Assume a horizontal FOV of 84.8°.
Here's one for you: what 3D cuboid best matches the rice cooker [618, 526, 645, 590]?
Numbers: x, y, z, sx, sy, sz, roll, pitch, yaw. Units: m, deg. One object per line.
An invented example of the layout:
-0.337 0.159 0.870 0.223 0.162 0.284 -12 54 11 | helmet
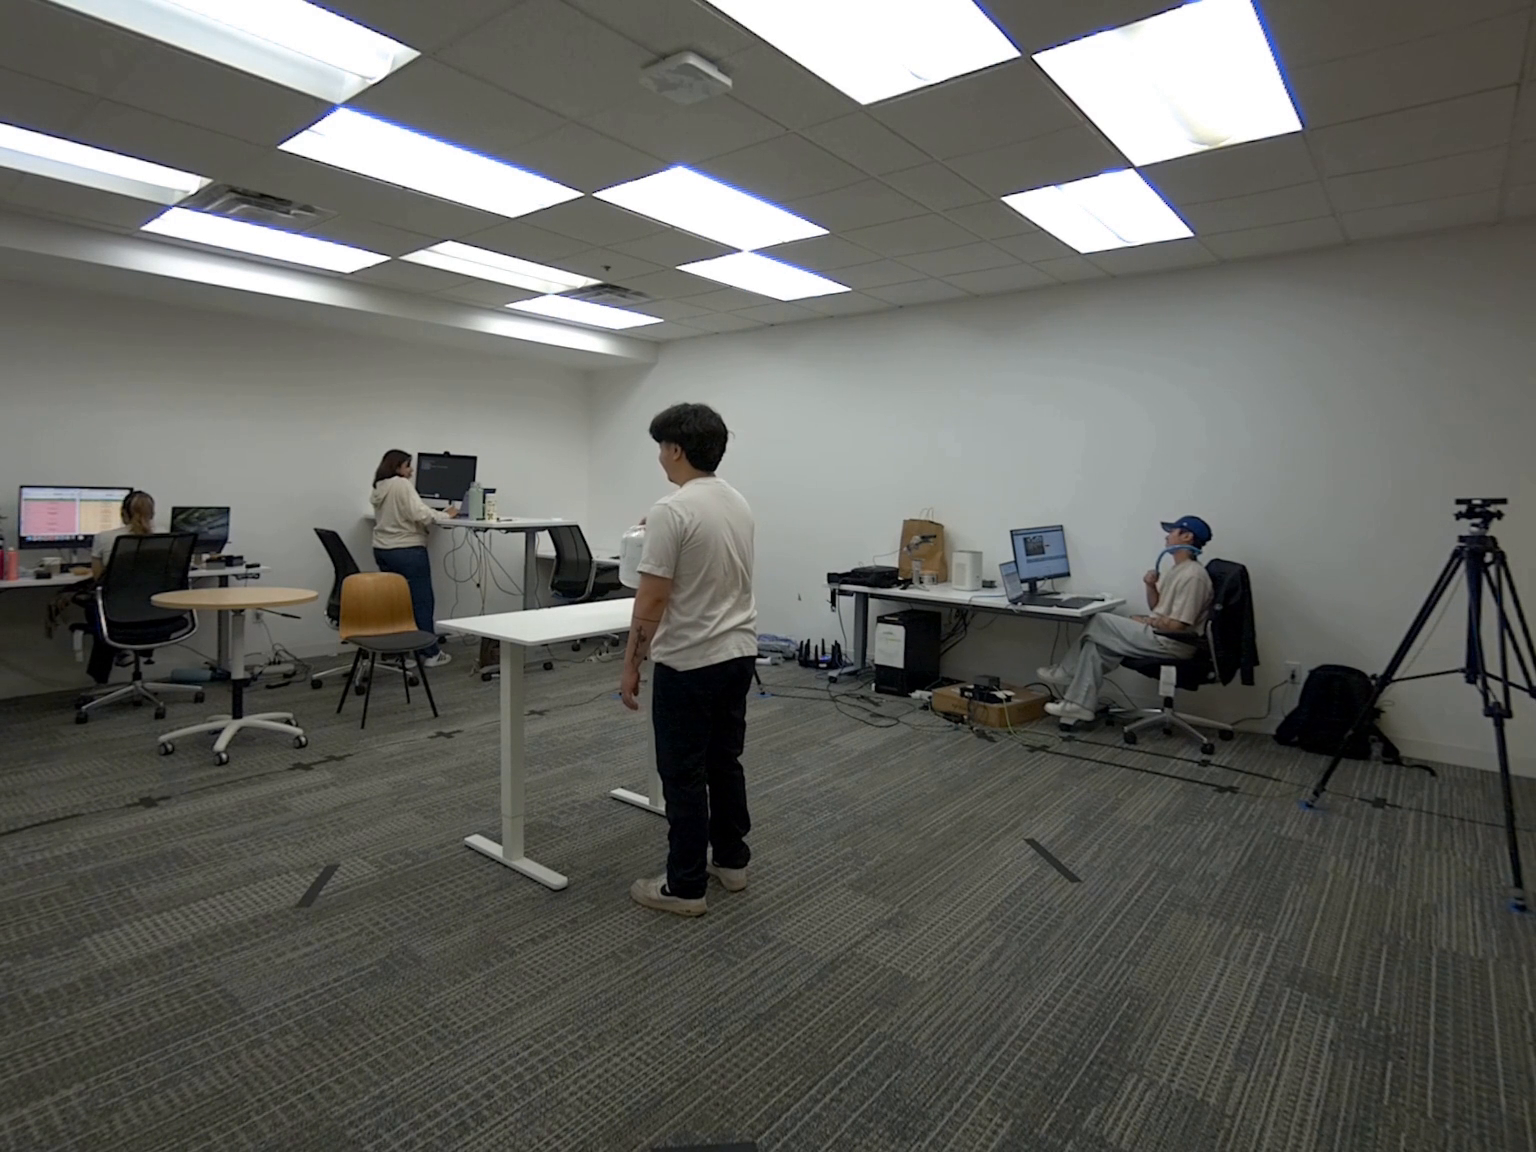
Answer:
-0.461 -0.077 3.191 0.215 0.232 0.224 0 6 -30 | rice cooker
